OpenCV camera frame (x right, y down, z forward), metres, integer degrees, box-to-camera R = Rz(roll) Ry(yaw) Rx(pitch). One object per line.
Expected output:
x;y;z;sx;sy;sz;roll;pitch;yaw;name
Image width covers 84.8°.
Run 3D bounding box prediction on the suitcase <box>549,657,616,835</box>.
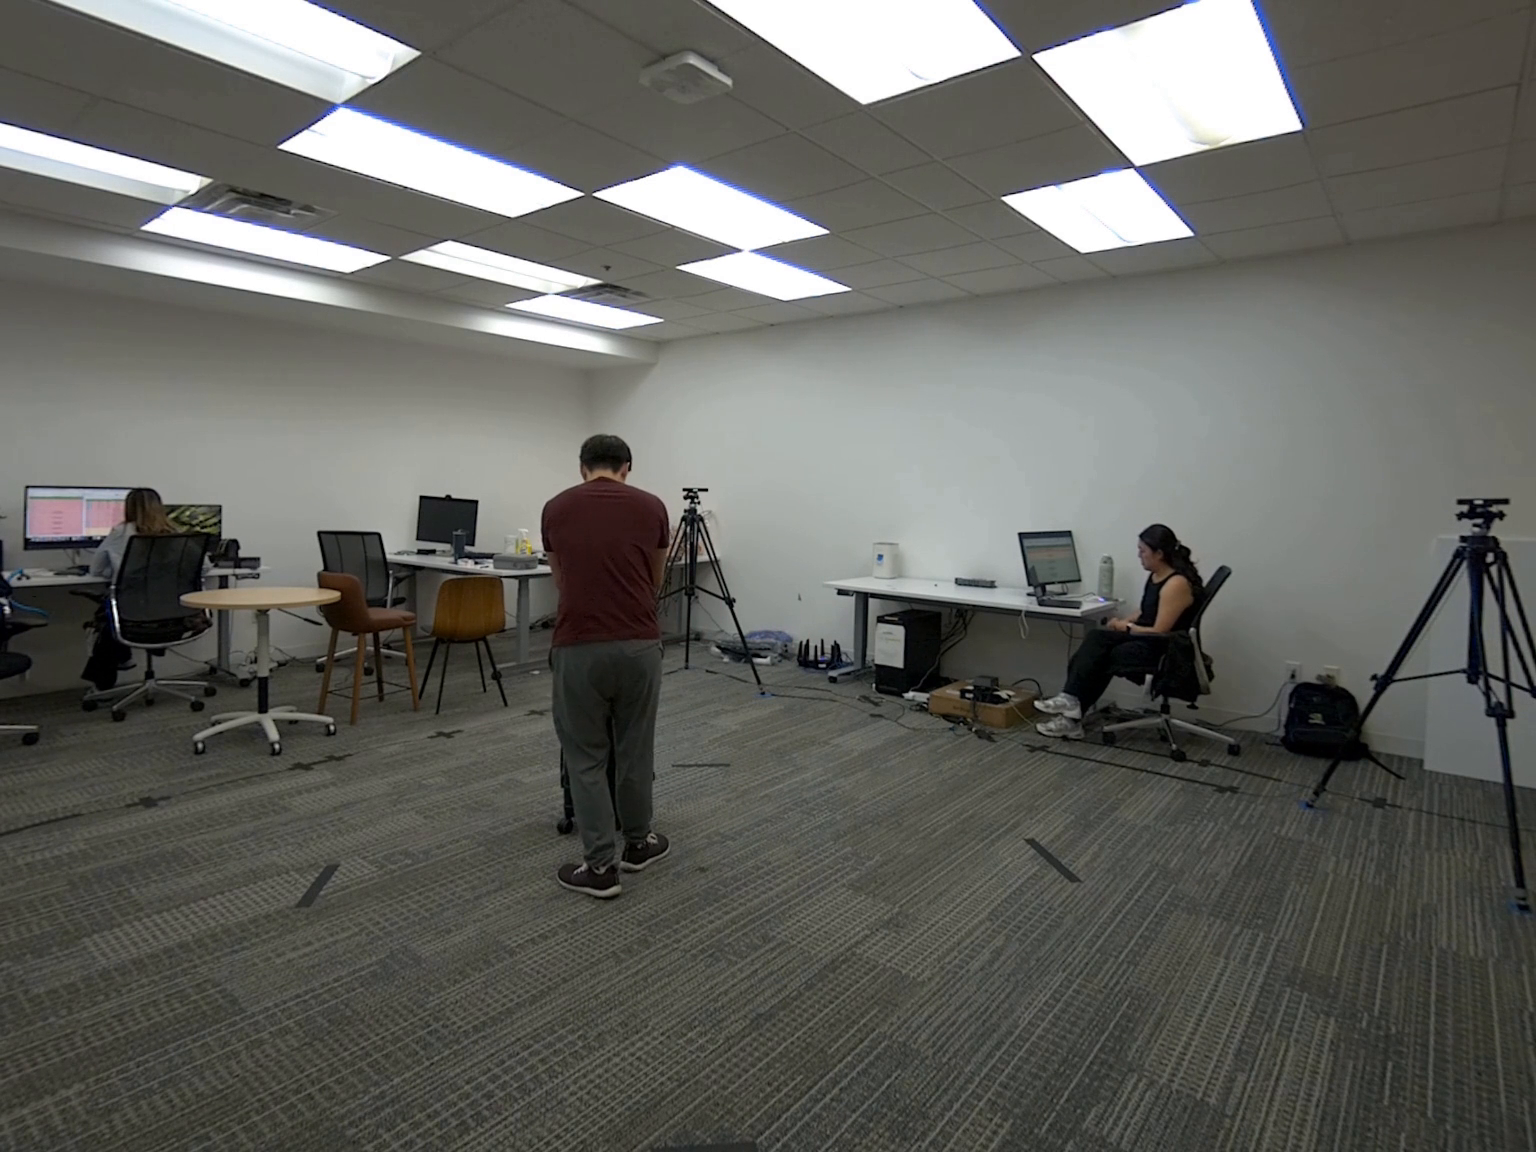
-0.665;0.541;3.532;0.383;0.979;0.258;2;0;-3;suitcase
